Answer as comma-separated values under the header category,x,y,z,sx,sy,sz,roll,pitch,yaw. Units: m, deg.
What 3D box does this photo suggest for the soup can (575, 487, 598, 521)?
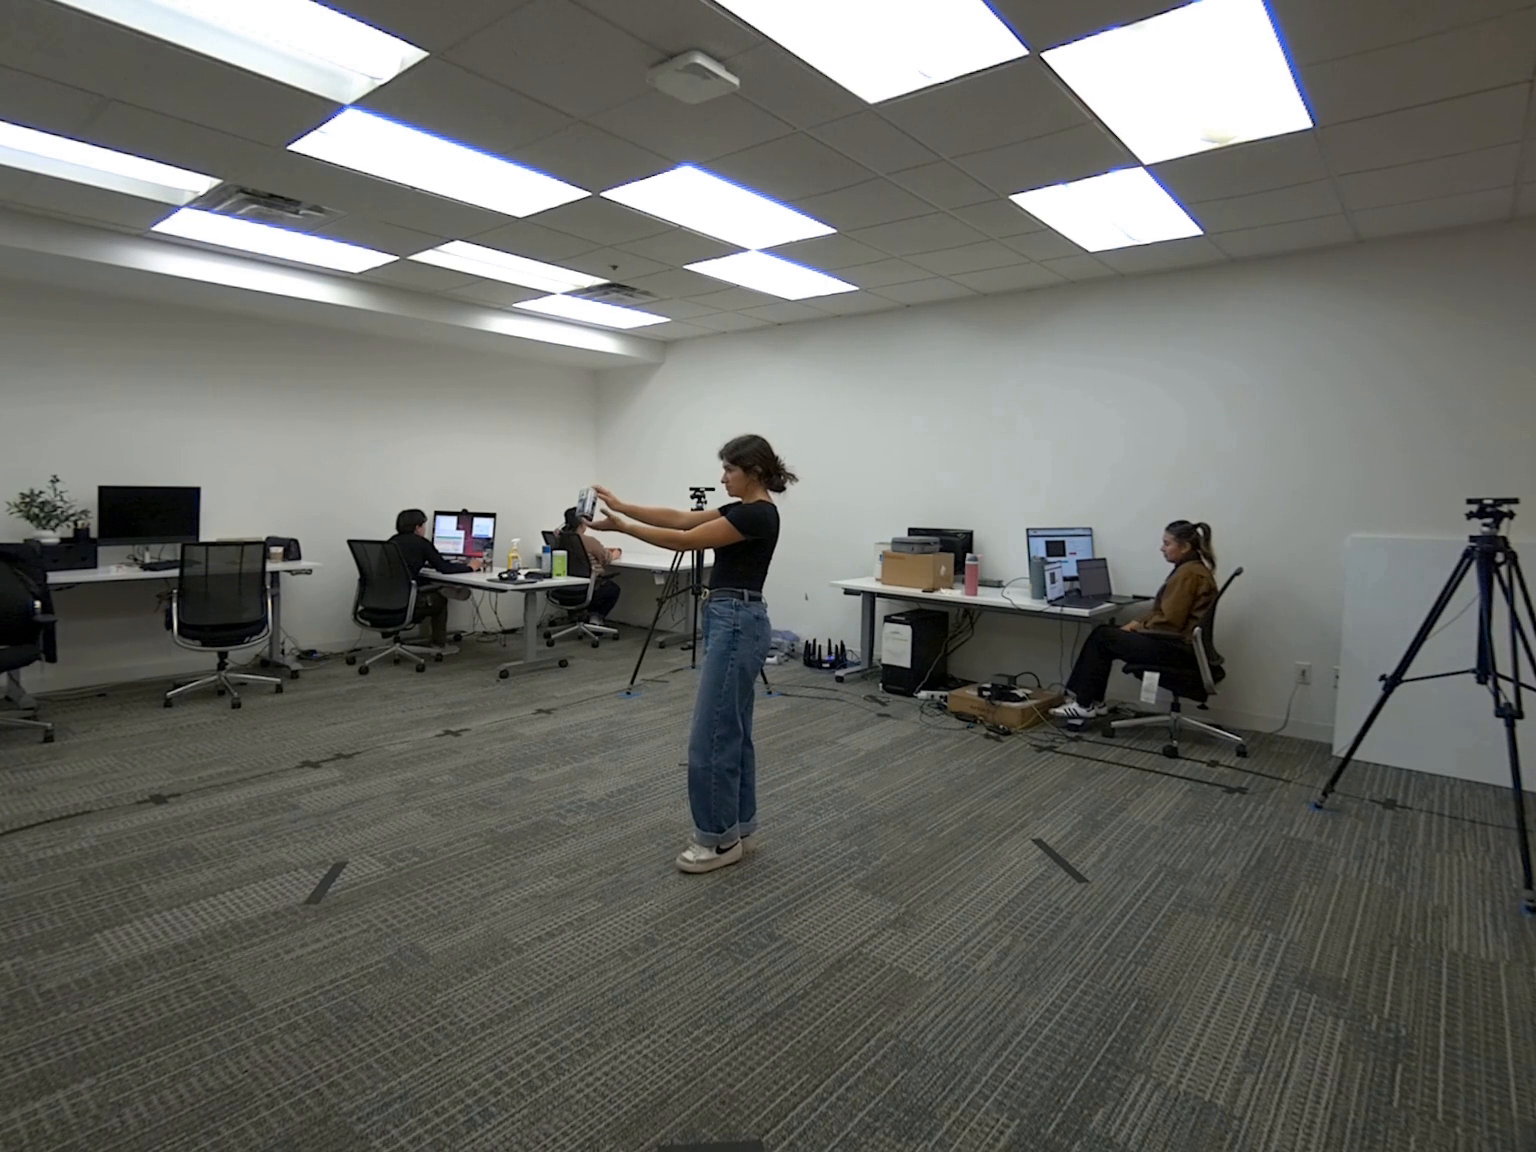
category,x,y,z,sx,sy,sz,roll,pitch,yaw
soup can,-0.685,-0.269,3.147,0.067,0.124,0.066,2,-19,-1
